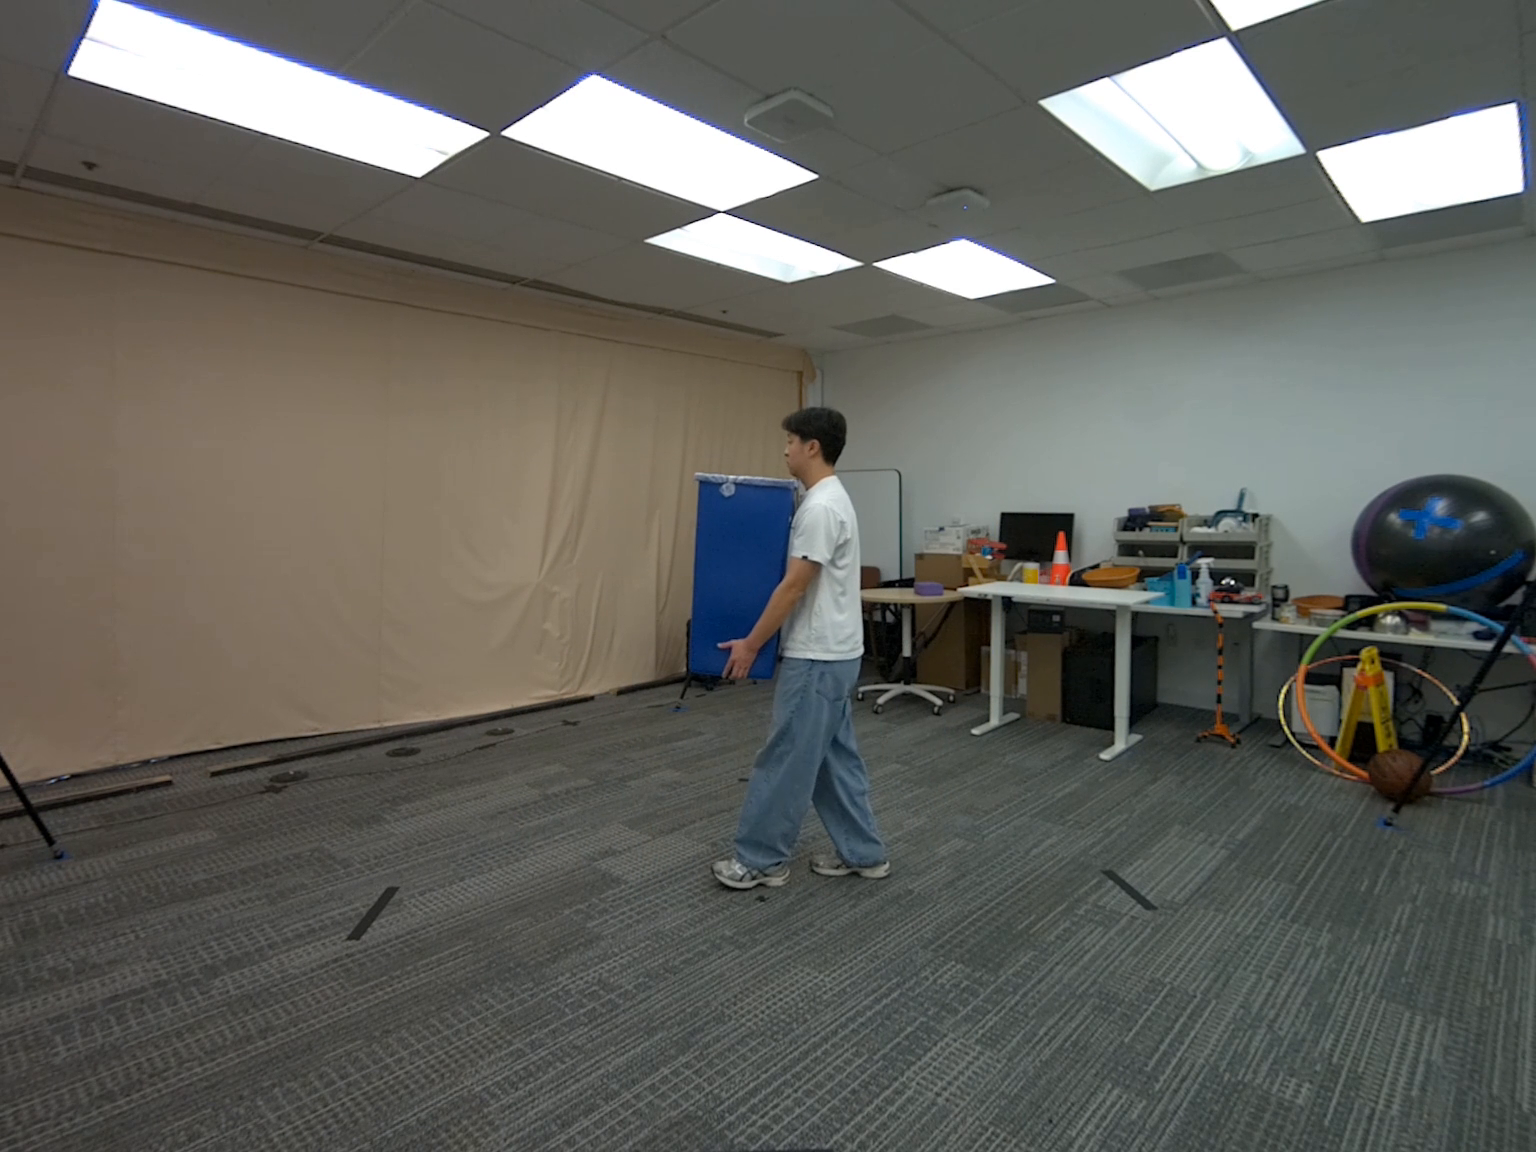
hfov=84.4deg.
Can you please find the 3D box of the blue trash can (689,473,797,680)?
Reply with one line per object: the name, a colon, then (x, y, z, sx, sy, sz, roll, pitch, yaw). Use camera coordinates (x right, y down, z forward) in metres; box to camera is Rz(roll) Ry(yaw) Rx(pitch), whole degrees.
blue trash can: (-0.100, -0.010, 3.151, 0.381, 0.712, 0.372, 5, 4, 6)
